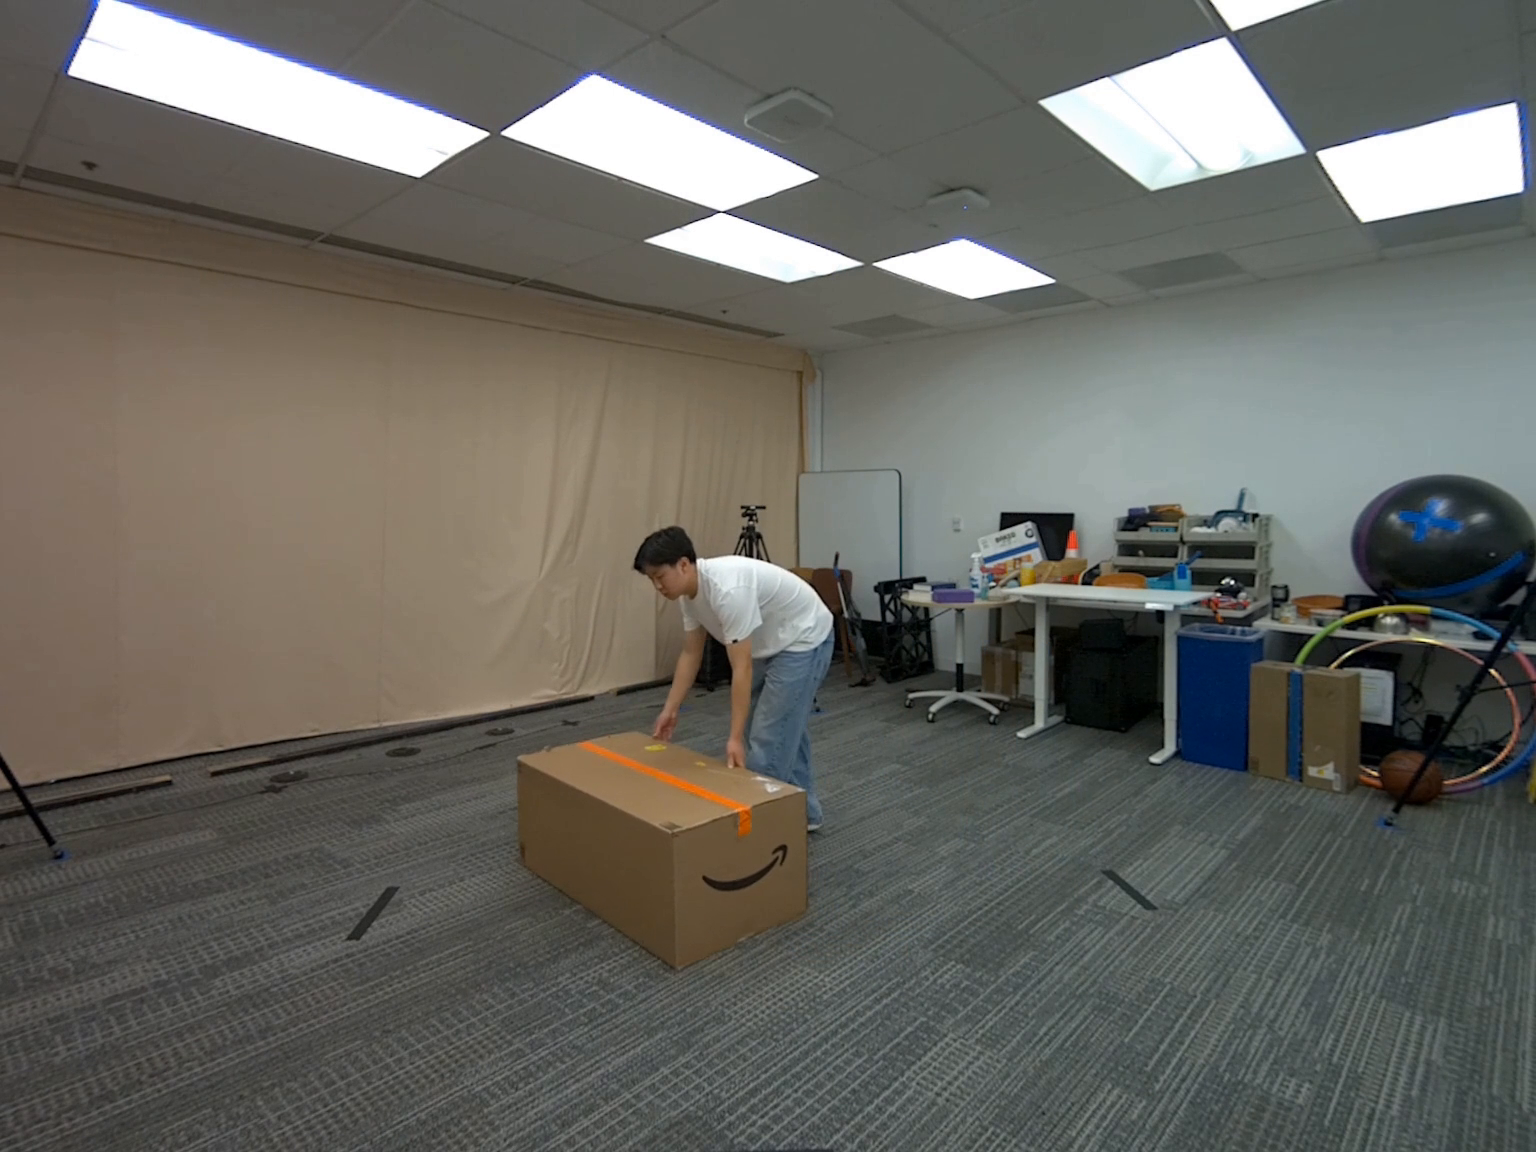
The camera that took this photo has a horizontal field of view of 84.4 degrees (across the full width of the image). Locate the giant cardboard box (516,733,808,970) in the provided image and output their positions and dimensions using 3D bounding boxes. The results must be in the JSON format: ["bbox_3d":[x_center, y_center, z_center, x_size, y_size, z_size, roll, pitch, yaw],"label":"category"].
[{"bbox_3d":[-0.427,0.924,3.077,0.560,0.425,1.060,-3,5,-42],"label":"giant cardboard box"}]
